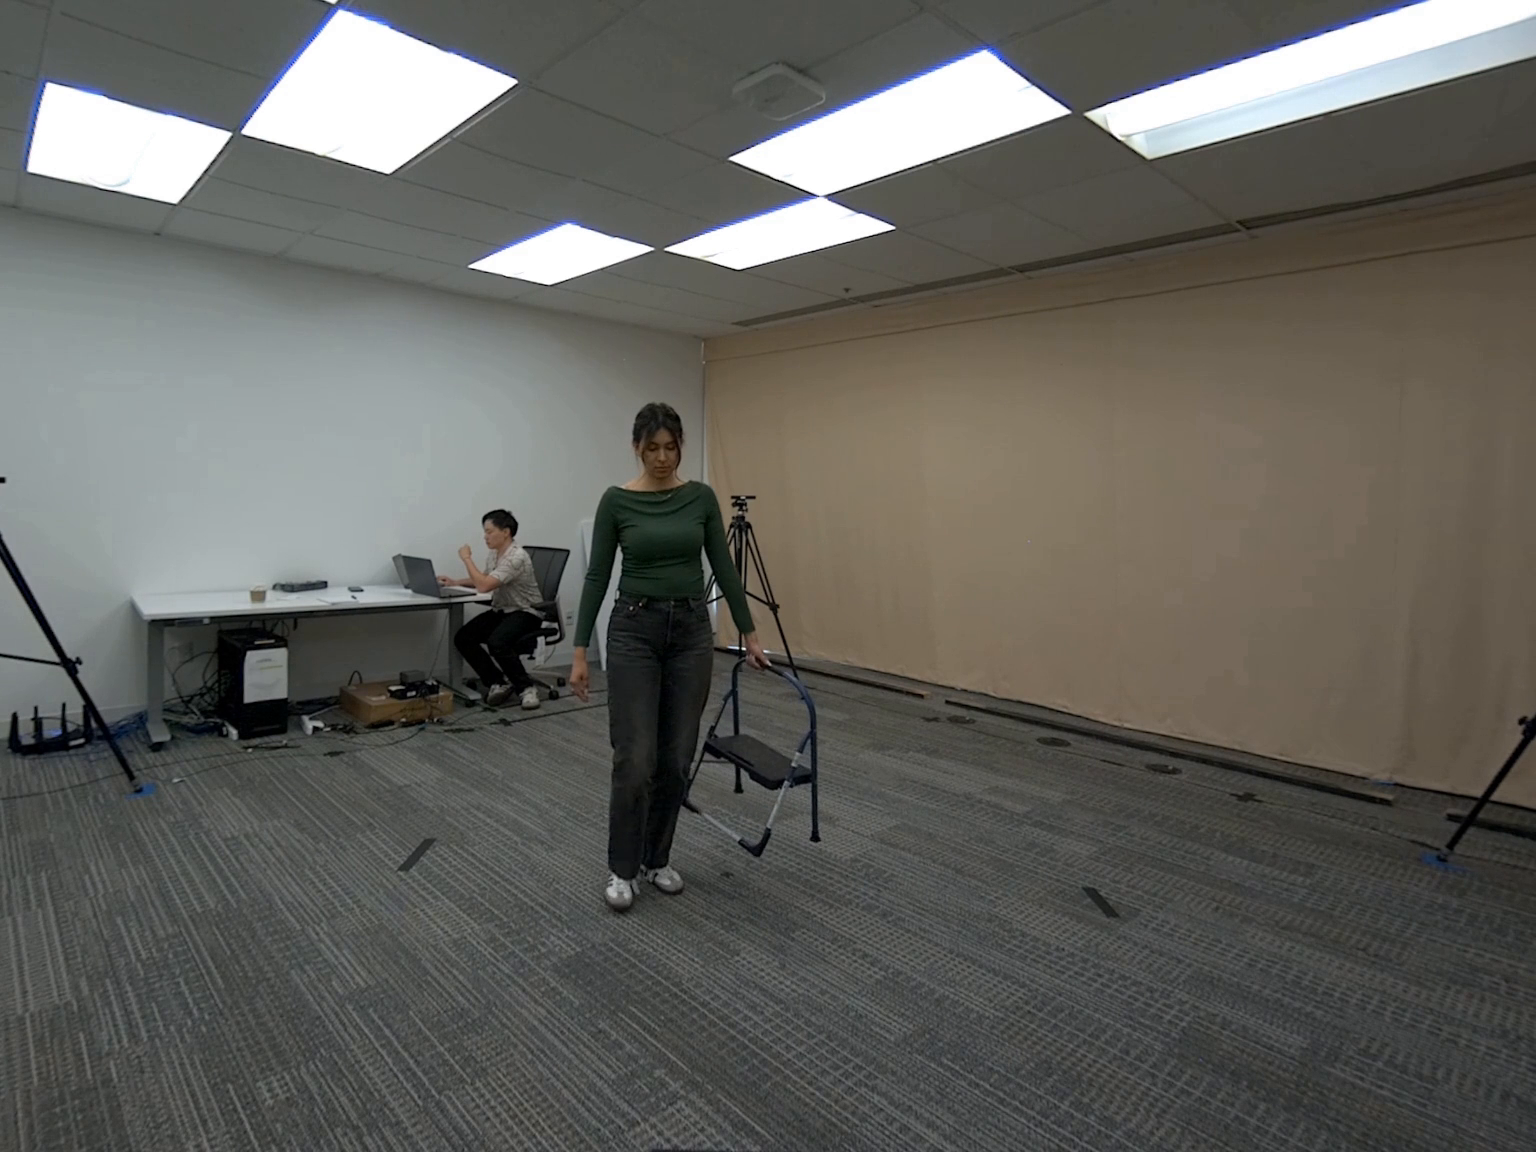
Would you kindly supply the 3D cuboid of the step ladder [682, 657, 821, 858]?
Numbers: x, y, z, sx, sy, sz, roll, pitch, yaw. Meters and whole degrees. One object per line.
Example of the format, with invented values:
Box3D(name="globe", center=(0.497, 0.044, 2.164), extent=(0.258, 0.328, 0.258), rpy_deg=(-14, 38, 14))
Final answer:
Box3D(name="step ladder", center=(-0.015, 0.609, 3.043), extent=(0.443, 0.603, 0.340), rpy_deg=(18, 9, 40))
